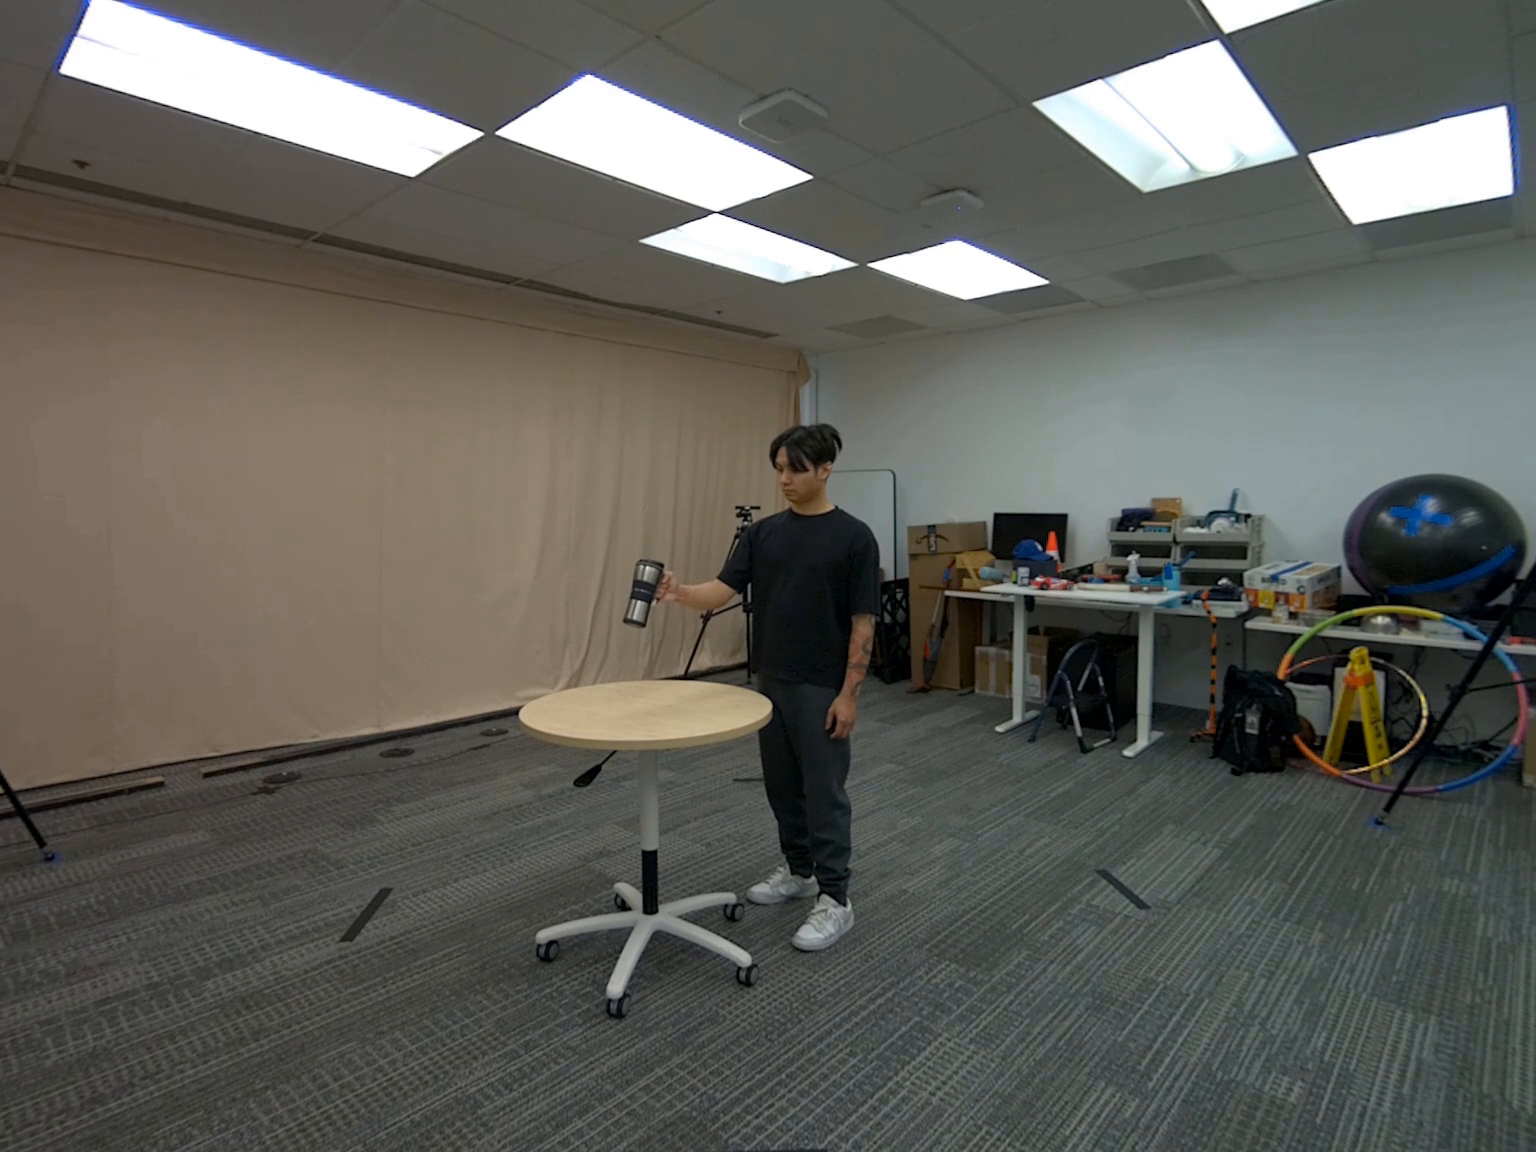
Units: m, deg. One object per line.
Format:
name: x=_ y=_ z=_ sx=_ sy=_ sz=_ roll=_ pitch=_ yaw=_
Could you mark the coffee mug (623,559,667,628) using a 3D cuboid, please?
coffee mug: x=-0.361 y=0.063 z=2.583 sx=0.118 sy=0.204 sz=0.090 roll=18 pitch=-13 yaw=-27
